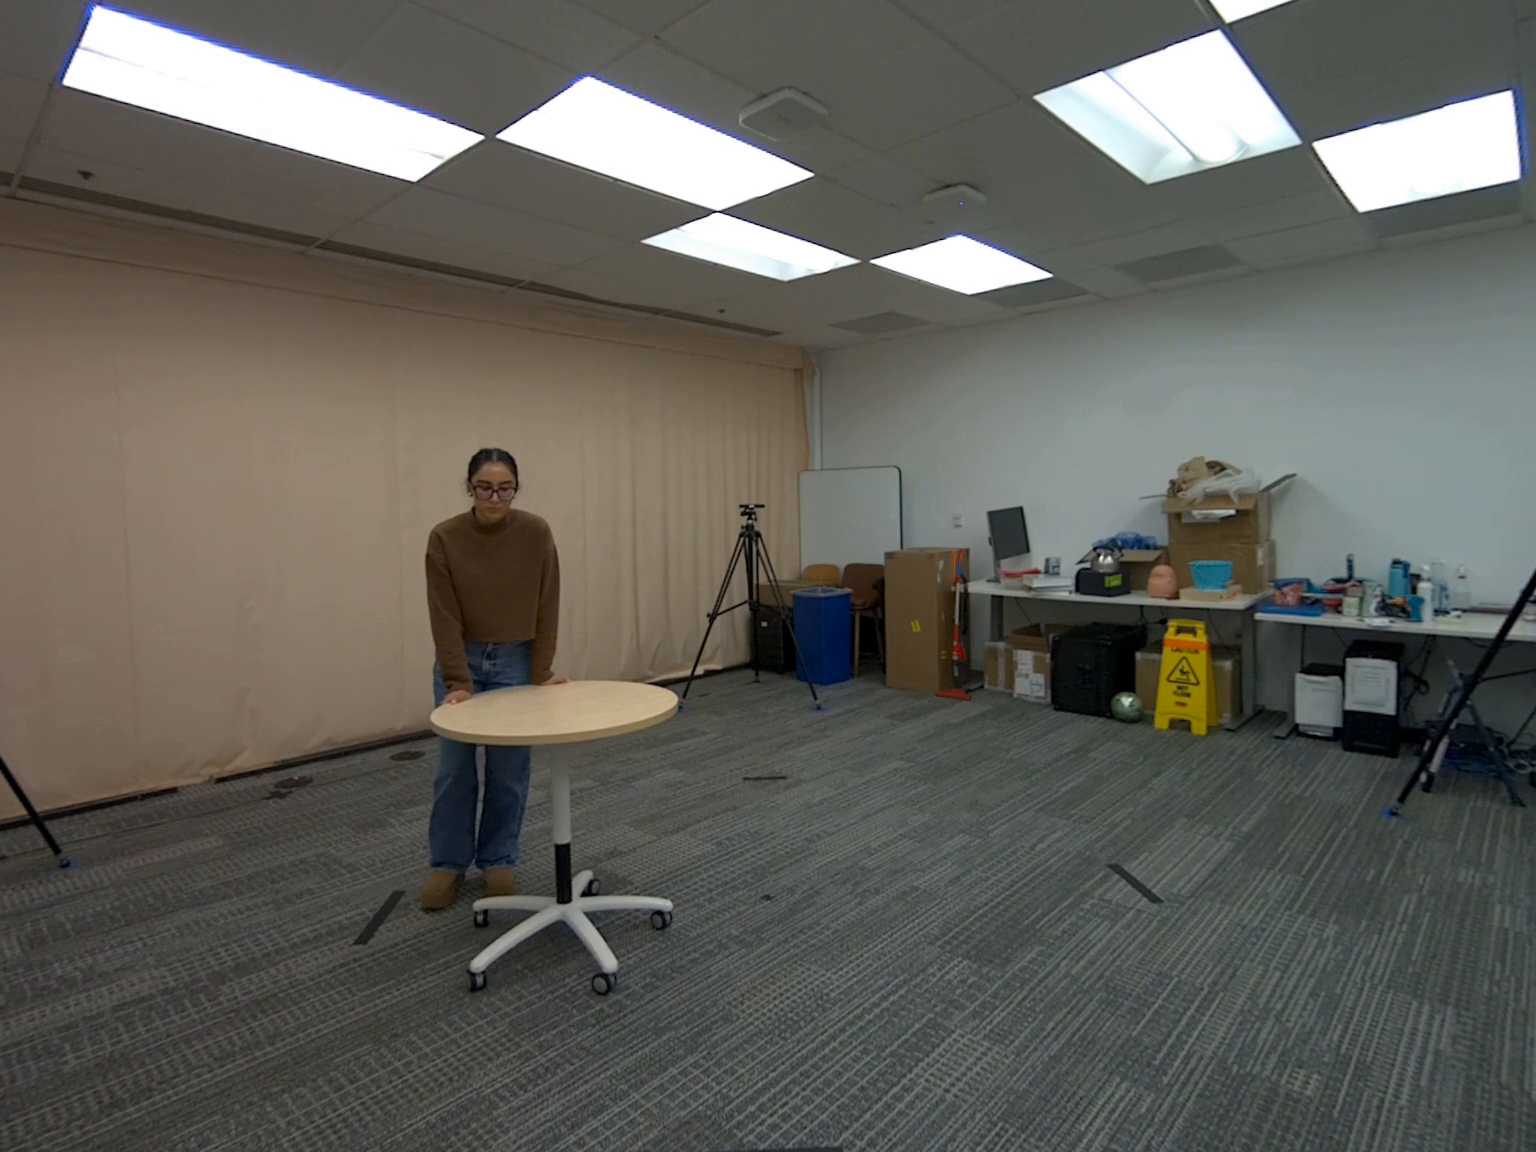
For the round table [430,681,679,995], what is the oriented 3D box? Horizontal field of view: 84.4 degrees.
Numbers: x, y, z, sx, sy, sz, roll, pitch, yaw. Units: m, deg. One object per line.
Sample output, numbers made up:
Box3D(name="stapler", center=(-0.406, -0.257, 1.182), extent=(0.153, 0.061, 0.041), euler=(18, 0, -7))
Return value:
Box3D(name="round table", center=(-0.658, 0.797, 2.676), extent=(0.763, 0.792, 0.766), euler=(-2, 3, -2))
